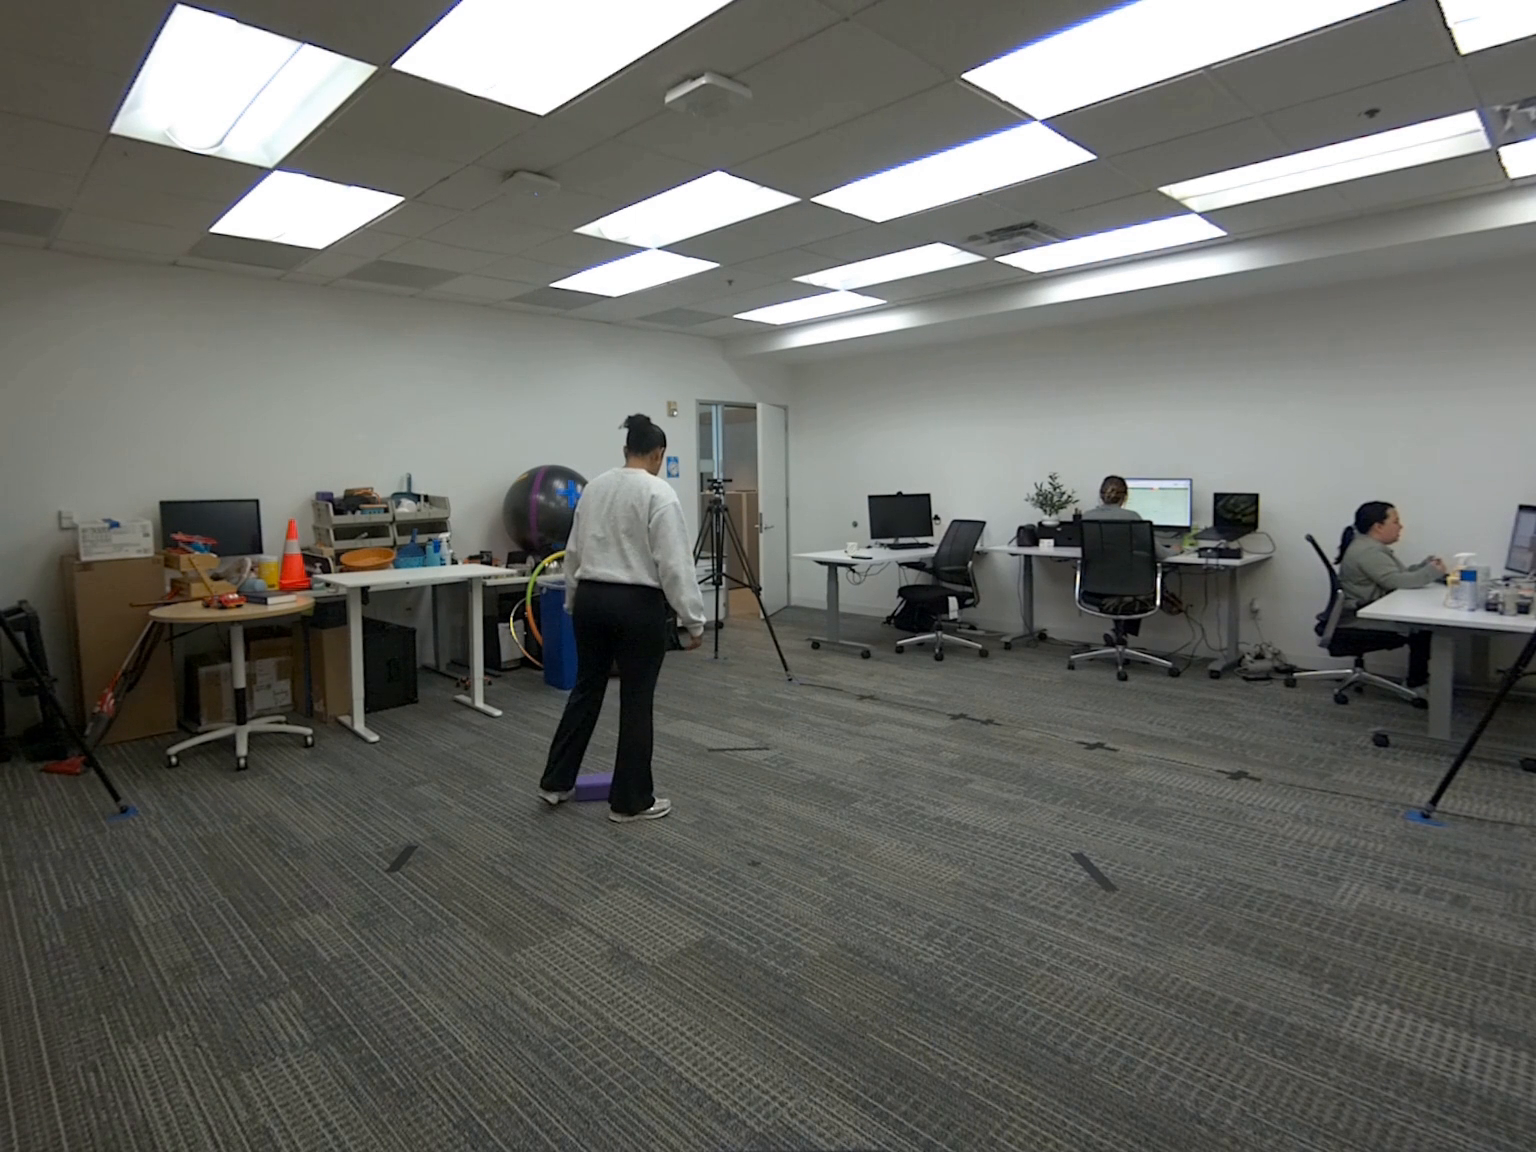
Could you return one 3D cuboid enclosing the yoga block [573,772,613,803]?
[{"bbox_3d":[-0.723,0.940,3.829,0.228,0.076,0.150,-2,5,-7],"label":"yoga block"}]
